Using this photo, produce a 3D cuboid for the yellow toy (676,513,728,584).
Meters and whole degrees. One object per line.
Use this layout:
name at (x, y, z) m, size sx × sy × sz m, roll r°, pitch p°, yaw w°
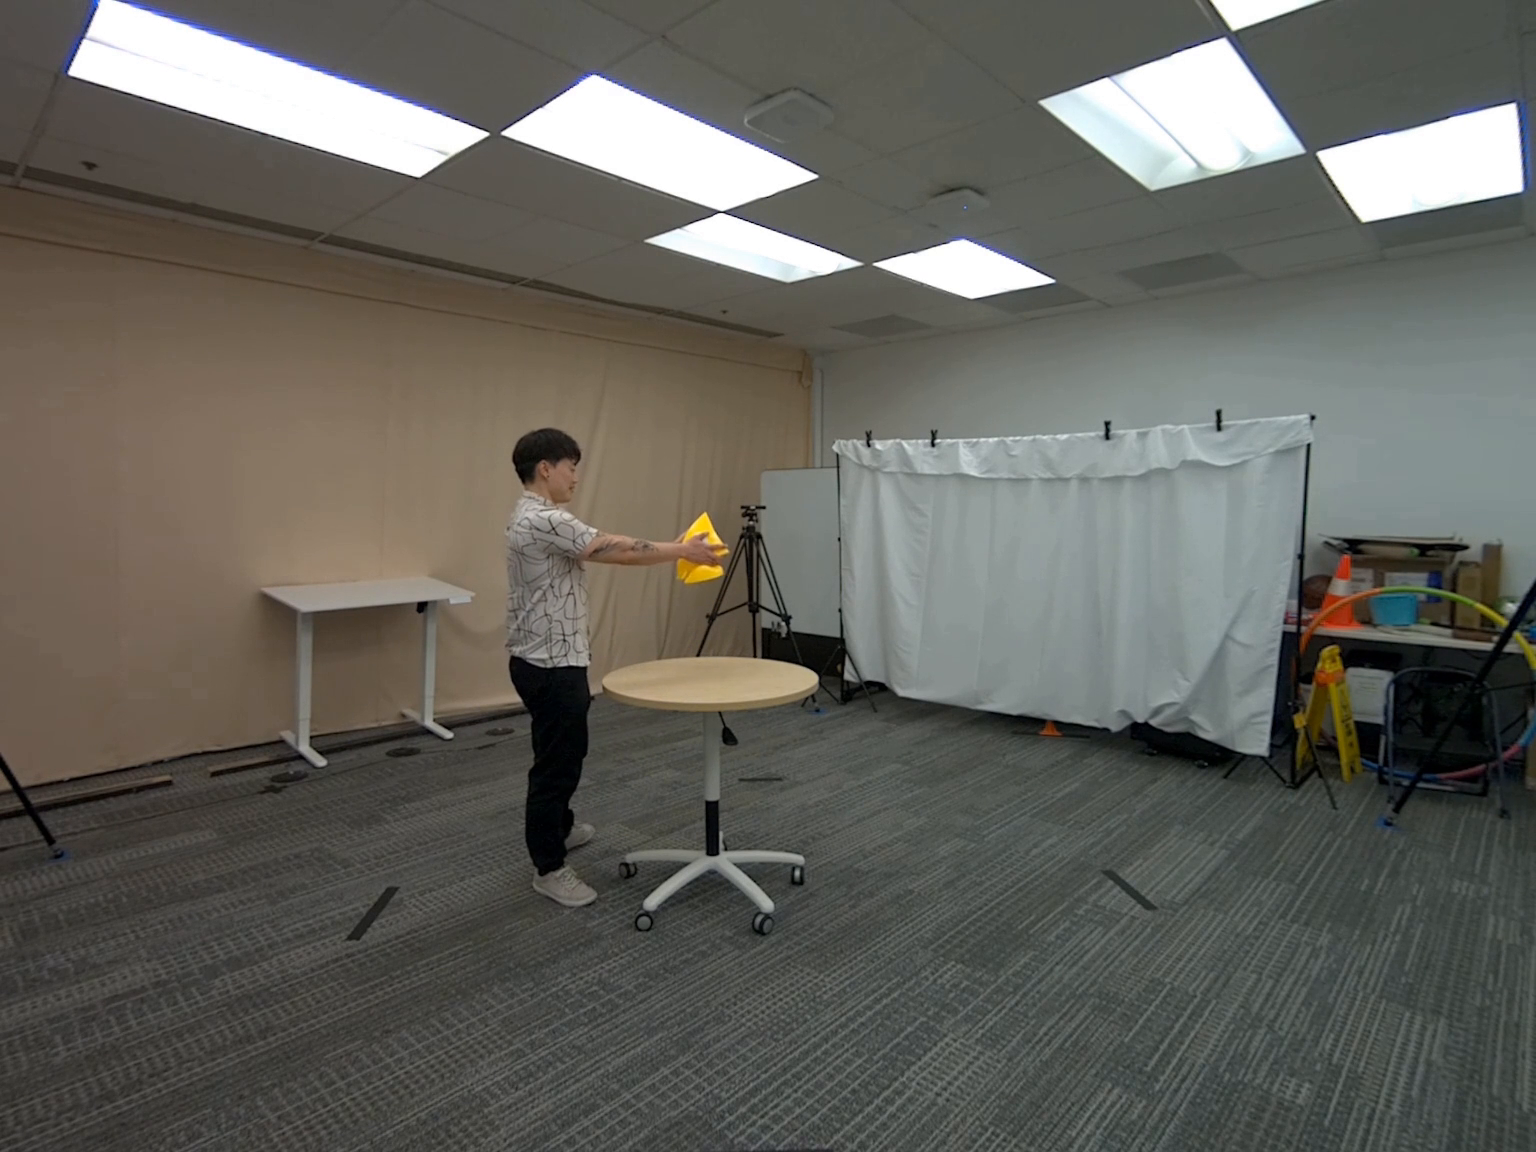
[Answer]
yellow toy at (-0.267, -0.112, 3.161) m, size 0.190 × 0.229 × 0.209 m, roll -15°, pitch 11°, yaw -17°
